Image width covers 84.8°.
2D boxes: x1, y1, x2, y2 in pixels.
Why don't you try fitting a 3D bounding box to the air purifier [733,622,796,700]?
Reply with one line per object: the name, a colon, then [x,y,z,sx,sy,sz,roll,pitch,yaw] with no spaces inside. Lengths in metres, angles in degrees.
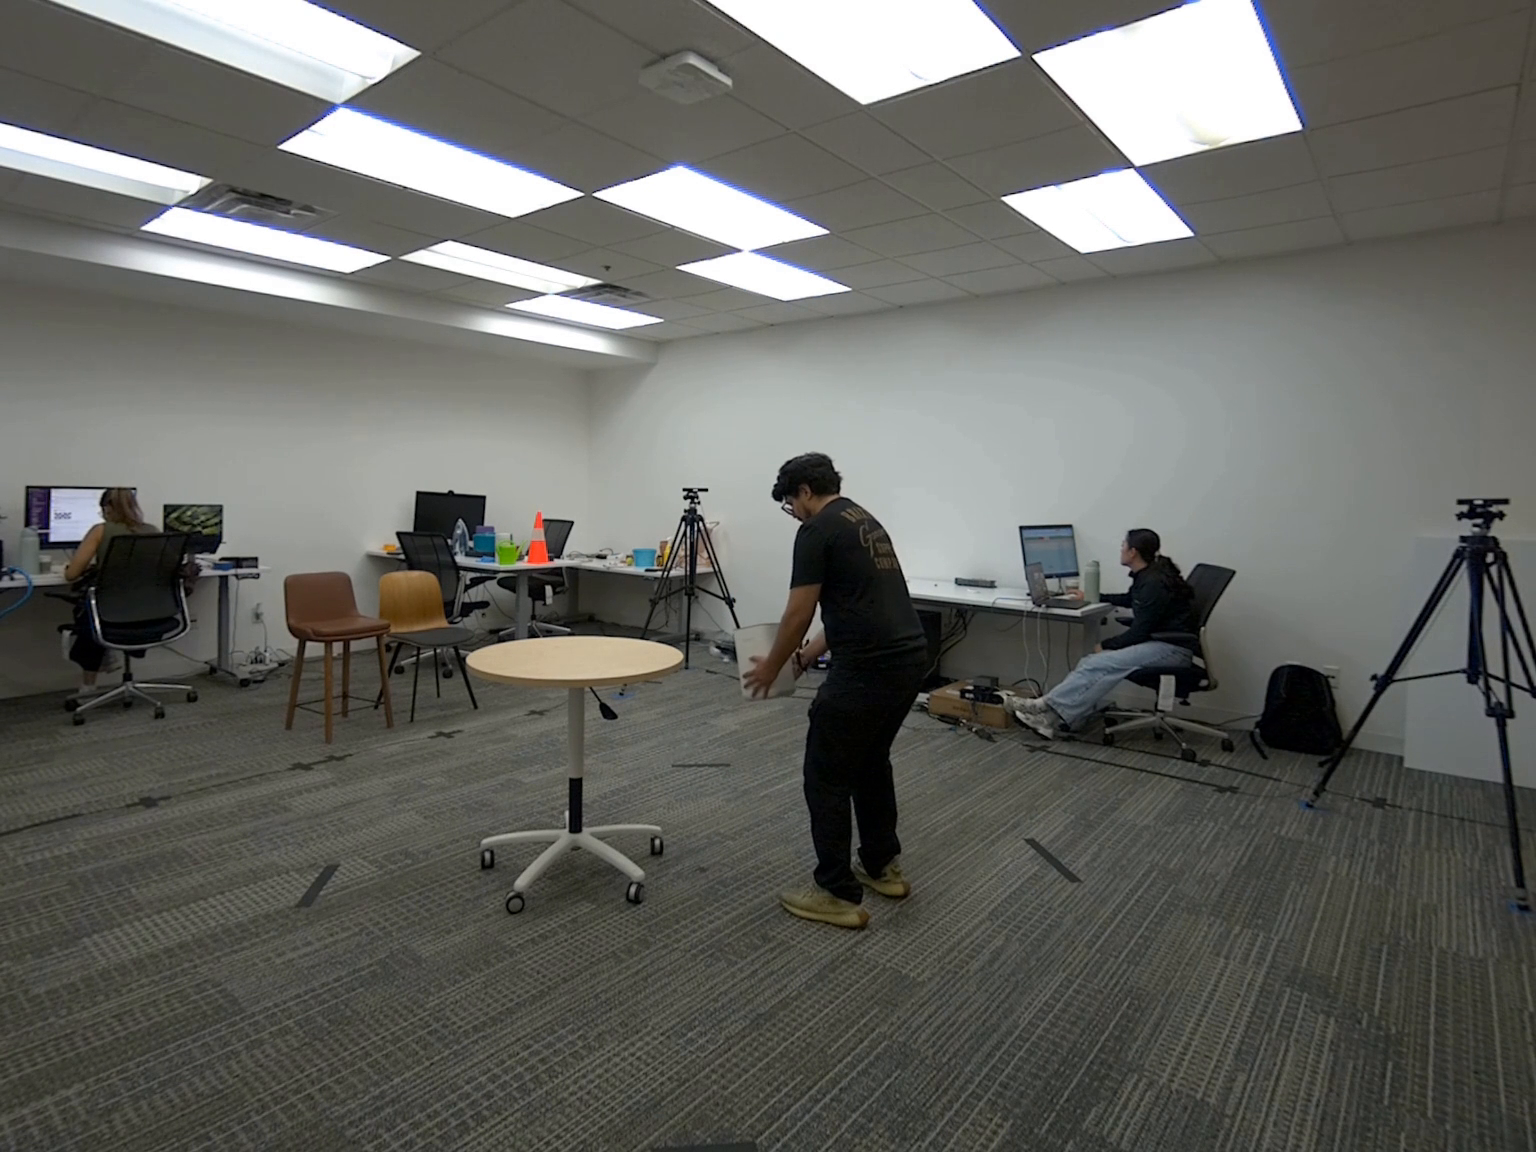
air purifier: [-0.019,0.310,3.126,0.175,0.268,0.166,-14,-9,31]
